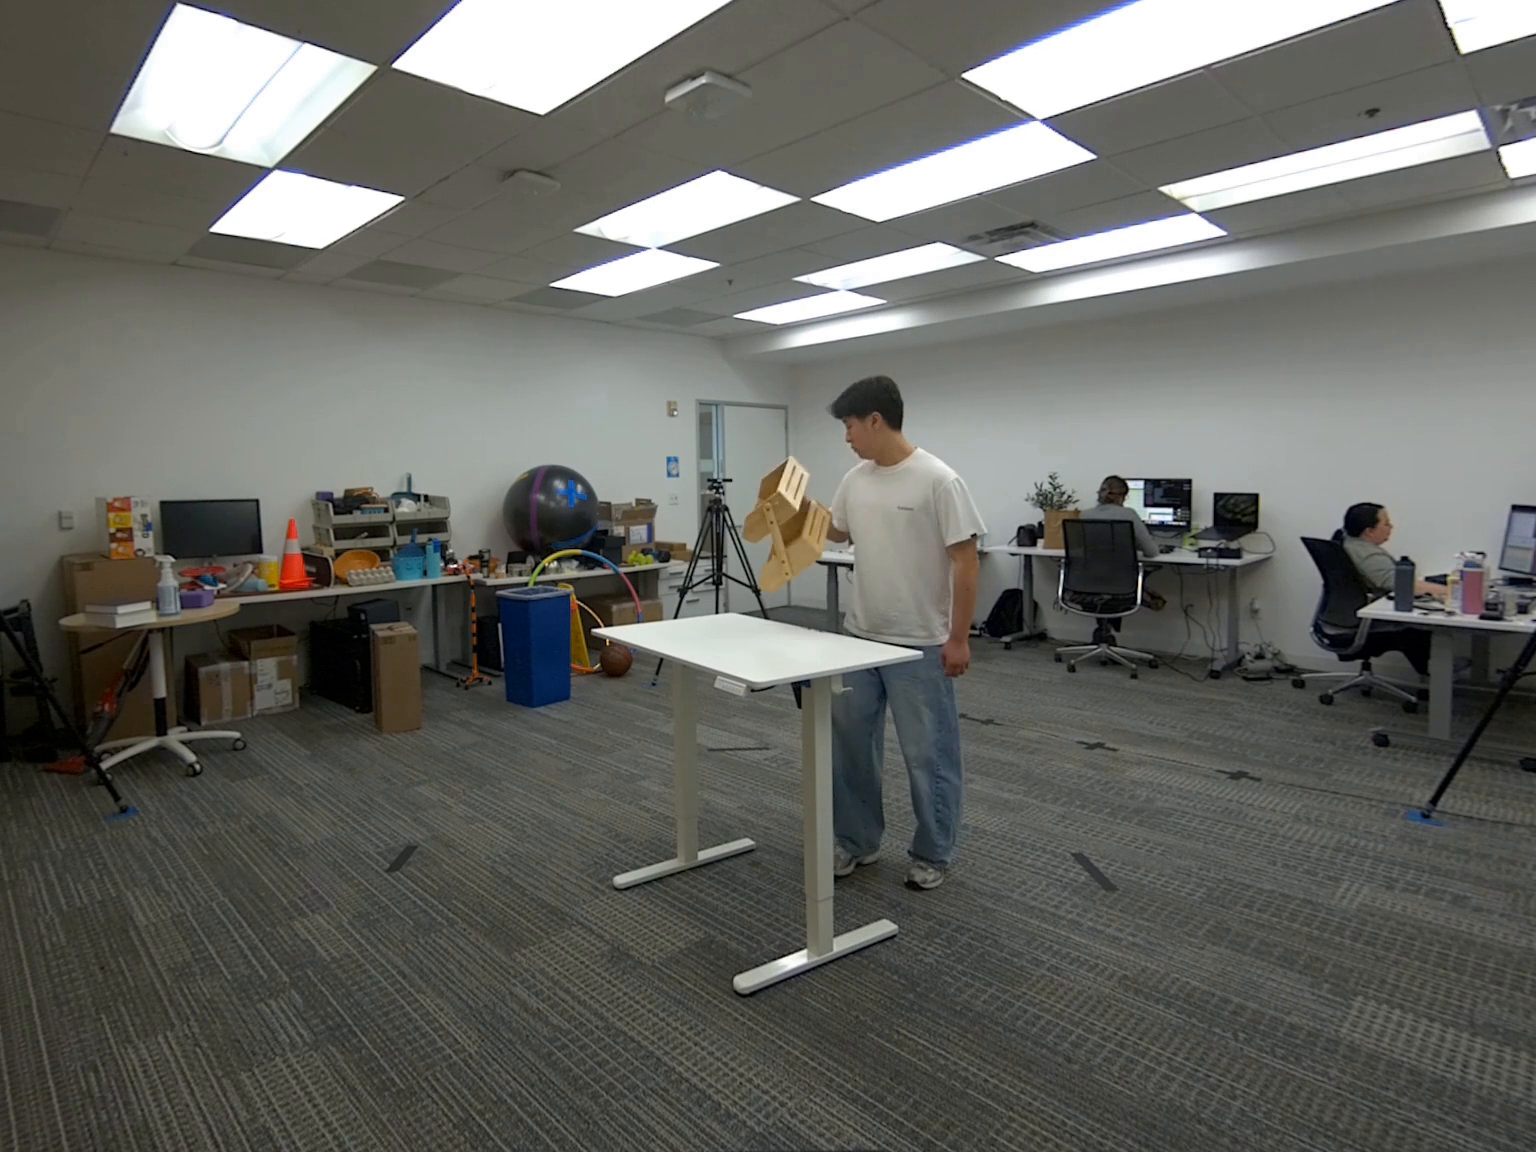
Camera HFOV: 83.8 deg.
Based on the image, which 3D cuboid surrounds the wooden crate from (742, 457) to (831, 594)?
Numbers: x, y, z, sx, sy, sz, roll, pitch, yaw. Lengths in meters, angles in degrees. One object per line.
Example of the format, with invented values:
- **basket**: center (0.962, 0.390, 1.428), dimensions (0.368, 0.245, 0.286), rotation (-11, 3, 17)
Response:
- **wooden crate**: center (0.039, -0.163, 2.911), dimensions (0.303, 0.269, 0.328), rotation (-37, 16, 27)
